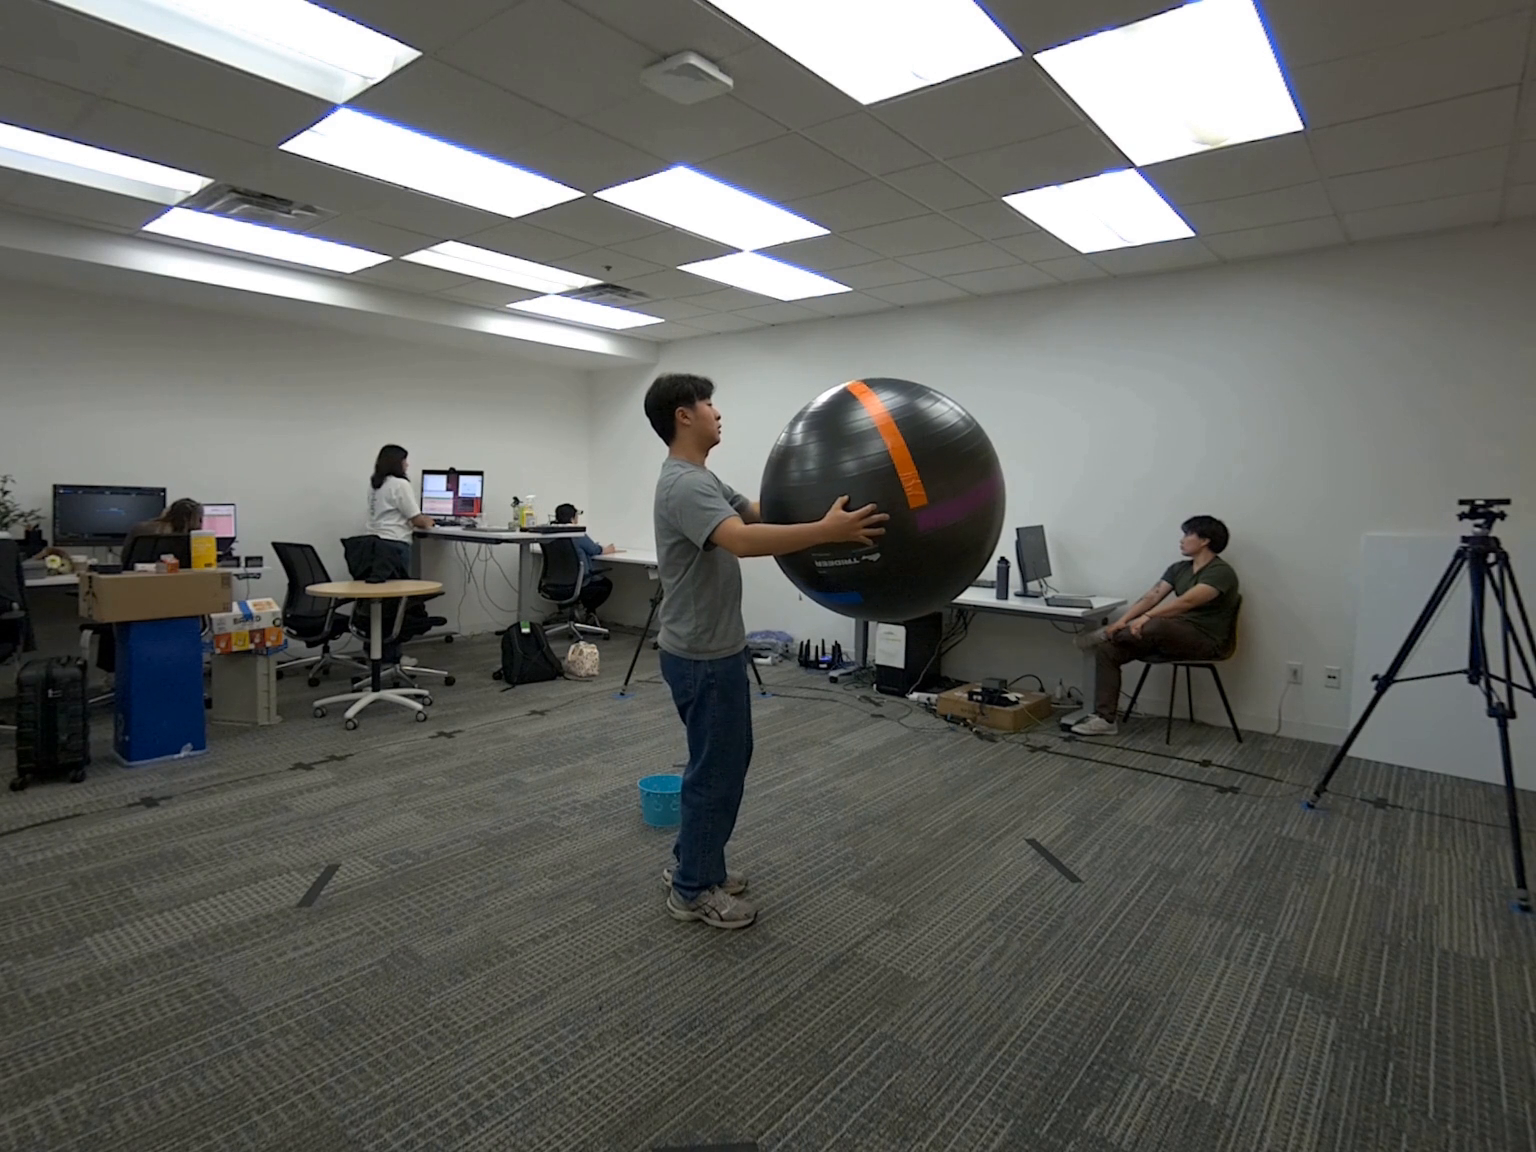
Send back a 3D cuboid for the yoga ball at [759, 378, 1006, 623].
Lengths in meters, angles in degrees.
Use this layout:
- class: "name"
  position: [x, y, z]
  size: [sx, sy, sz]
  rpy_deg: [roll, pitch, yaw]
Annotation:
- class: "yoga ball"
  position: [0.351, -0.232, 2.685]
  size: [0.757, 0.756, 0.761]
  rpy_deg: [1, 4, -2]
